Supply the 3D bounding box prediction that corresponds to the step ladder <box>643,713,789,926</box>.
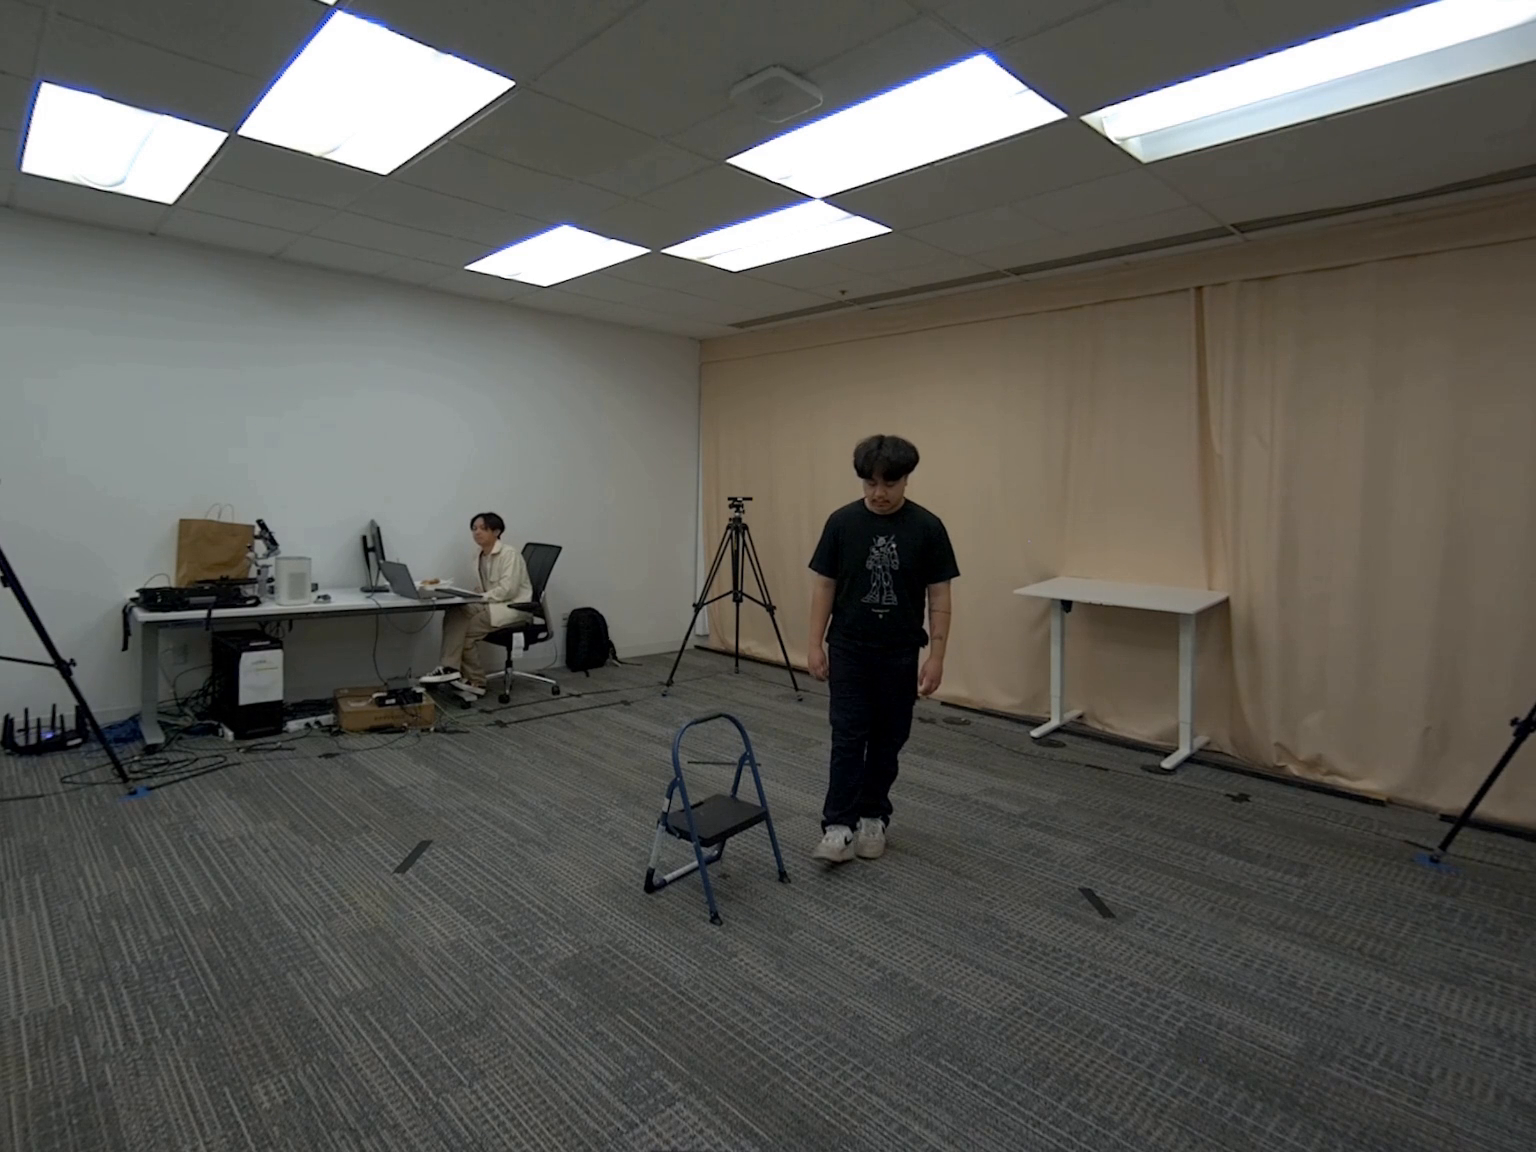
[{"bbox_3d":[-0.177,0.813,2.996,0.358,0.604,0.421,4,4,36],"label":"step ladder"}]
